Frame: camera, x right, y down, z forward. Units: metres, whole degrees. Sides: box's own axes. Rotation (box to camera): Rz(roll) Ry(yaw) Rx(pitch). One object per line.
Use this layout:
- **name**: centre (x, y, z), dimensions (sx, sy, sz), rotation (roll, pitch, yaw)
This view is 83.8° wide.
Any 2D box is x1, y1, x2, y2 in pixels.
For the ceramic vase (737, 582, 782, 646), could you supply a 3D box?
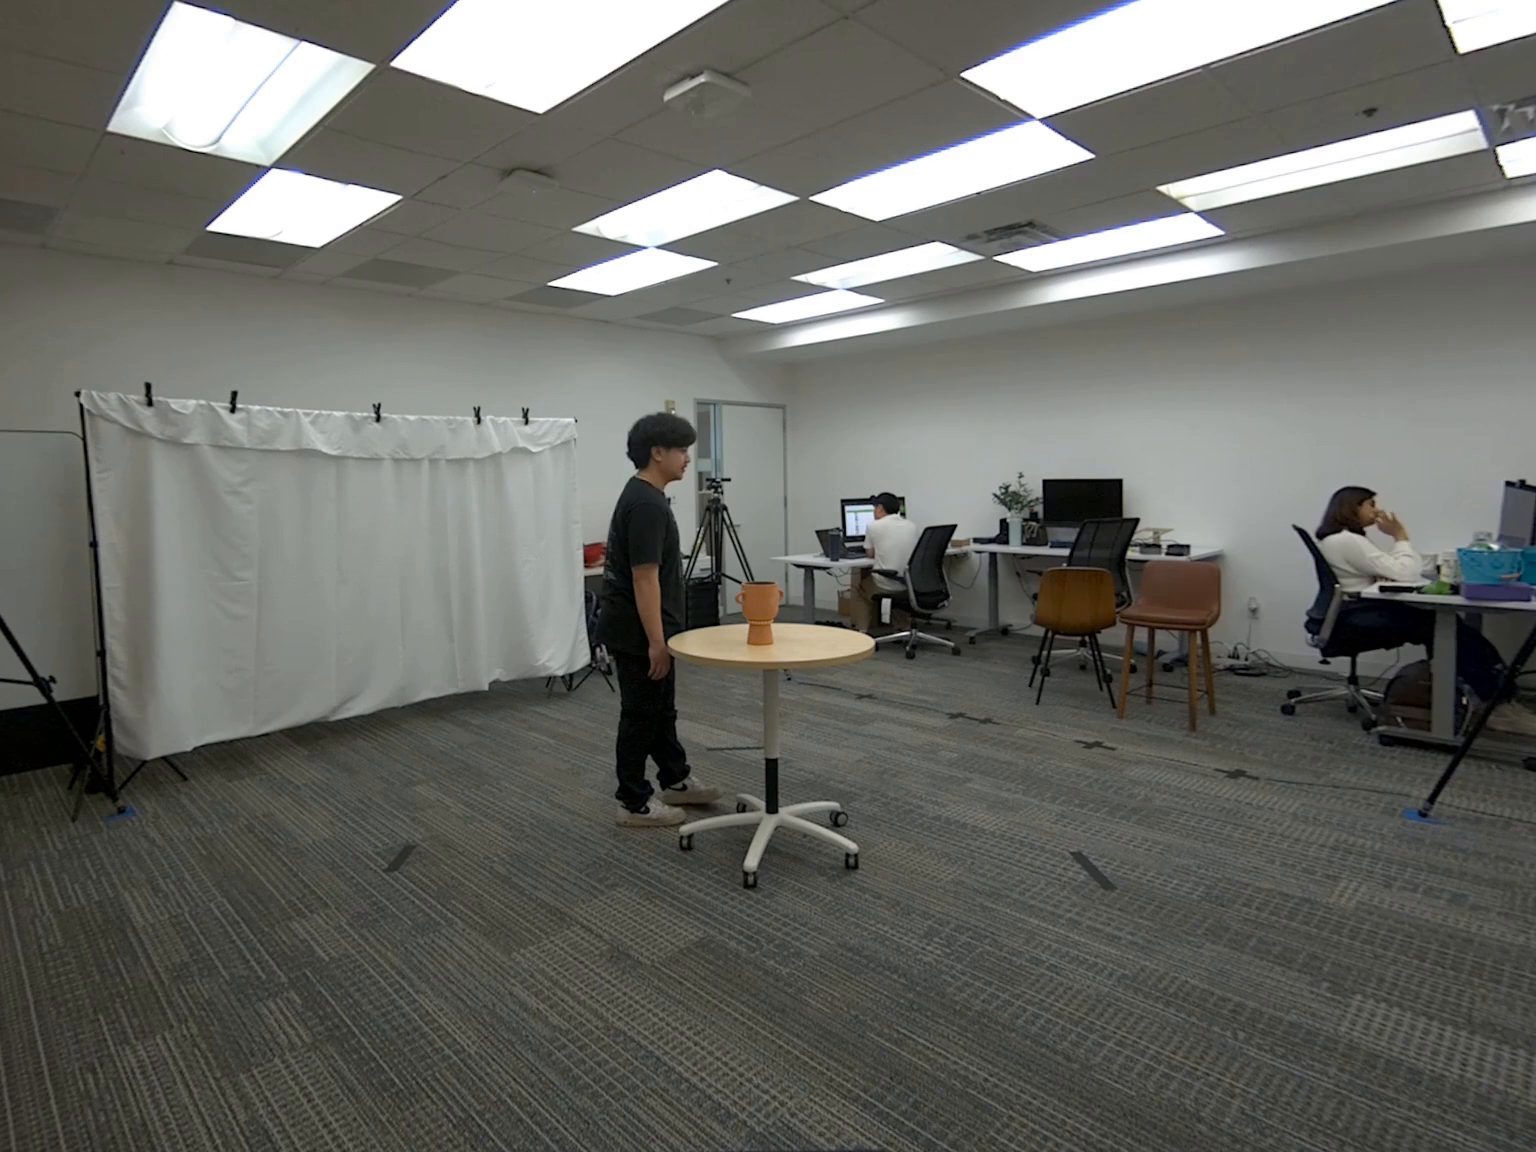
- **ceramic vase**: centre (-0.026, 0.136, 3.122), dimensions (0.132, 0.219, 0.162), rotation (-2, 4, -25)
